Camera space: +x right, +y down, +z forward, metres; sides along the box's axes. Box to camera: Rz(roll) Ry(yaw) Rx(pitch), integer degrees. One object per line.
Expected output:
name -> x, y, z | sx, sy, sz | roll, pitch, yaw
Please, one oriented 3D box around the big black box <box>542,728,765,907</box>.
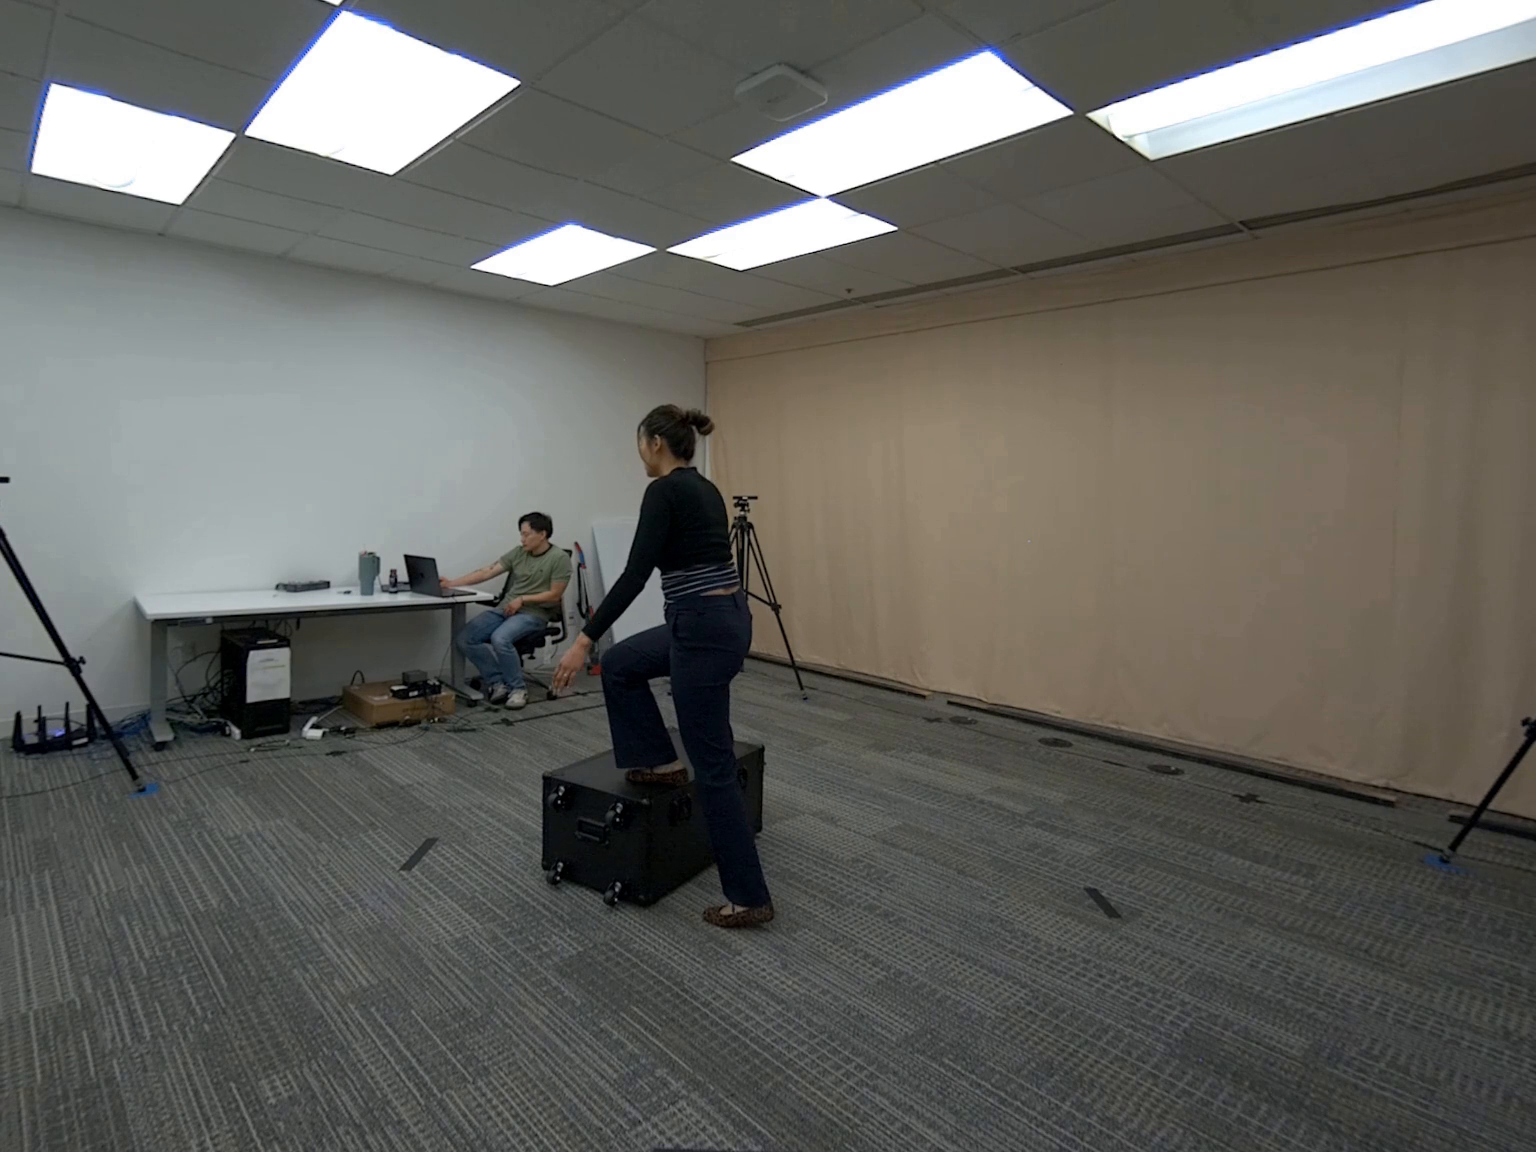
big black box -> -0.443, 0.898, 3.232 | 0.533, 0.395, 0.845 | 5, 6, 30
